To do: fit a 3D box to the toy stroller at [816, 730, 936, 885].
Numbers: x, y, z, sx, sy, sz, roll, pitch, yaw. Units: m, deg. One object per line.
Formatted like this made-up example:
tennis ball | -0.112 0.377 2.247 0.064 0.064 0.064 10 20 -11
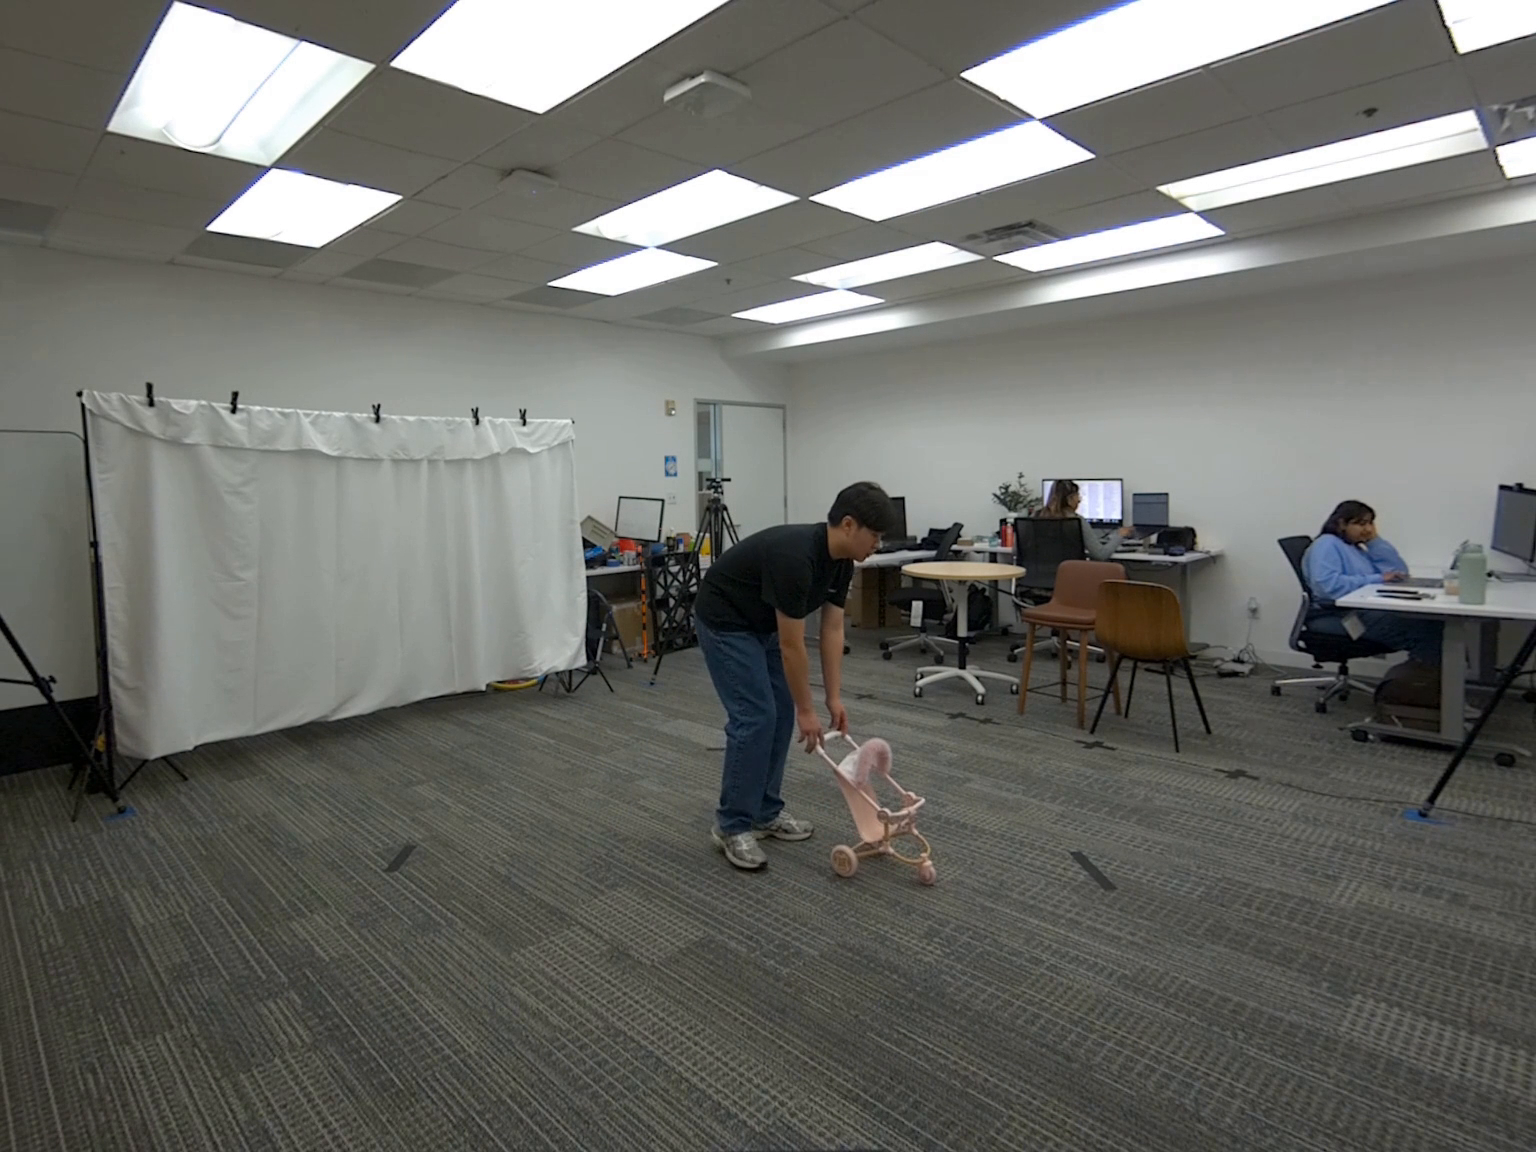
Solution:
toy stroller | 0.389 0.814 3.026 0.348 0.538 0.274 -17 -7 42
